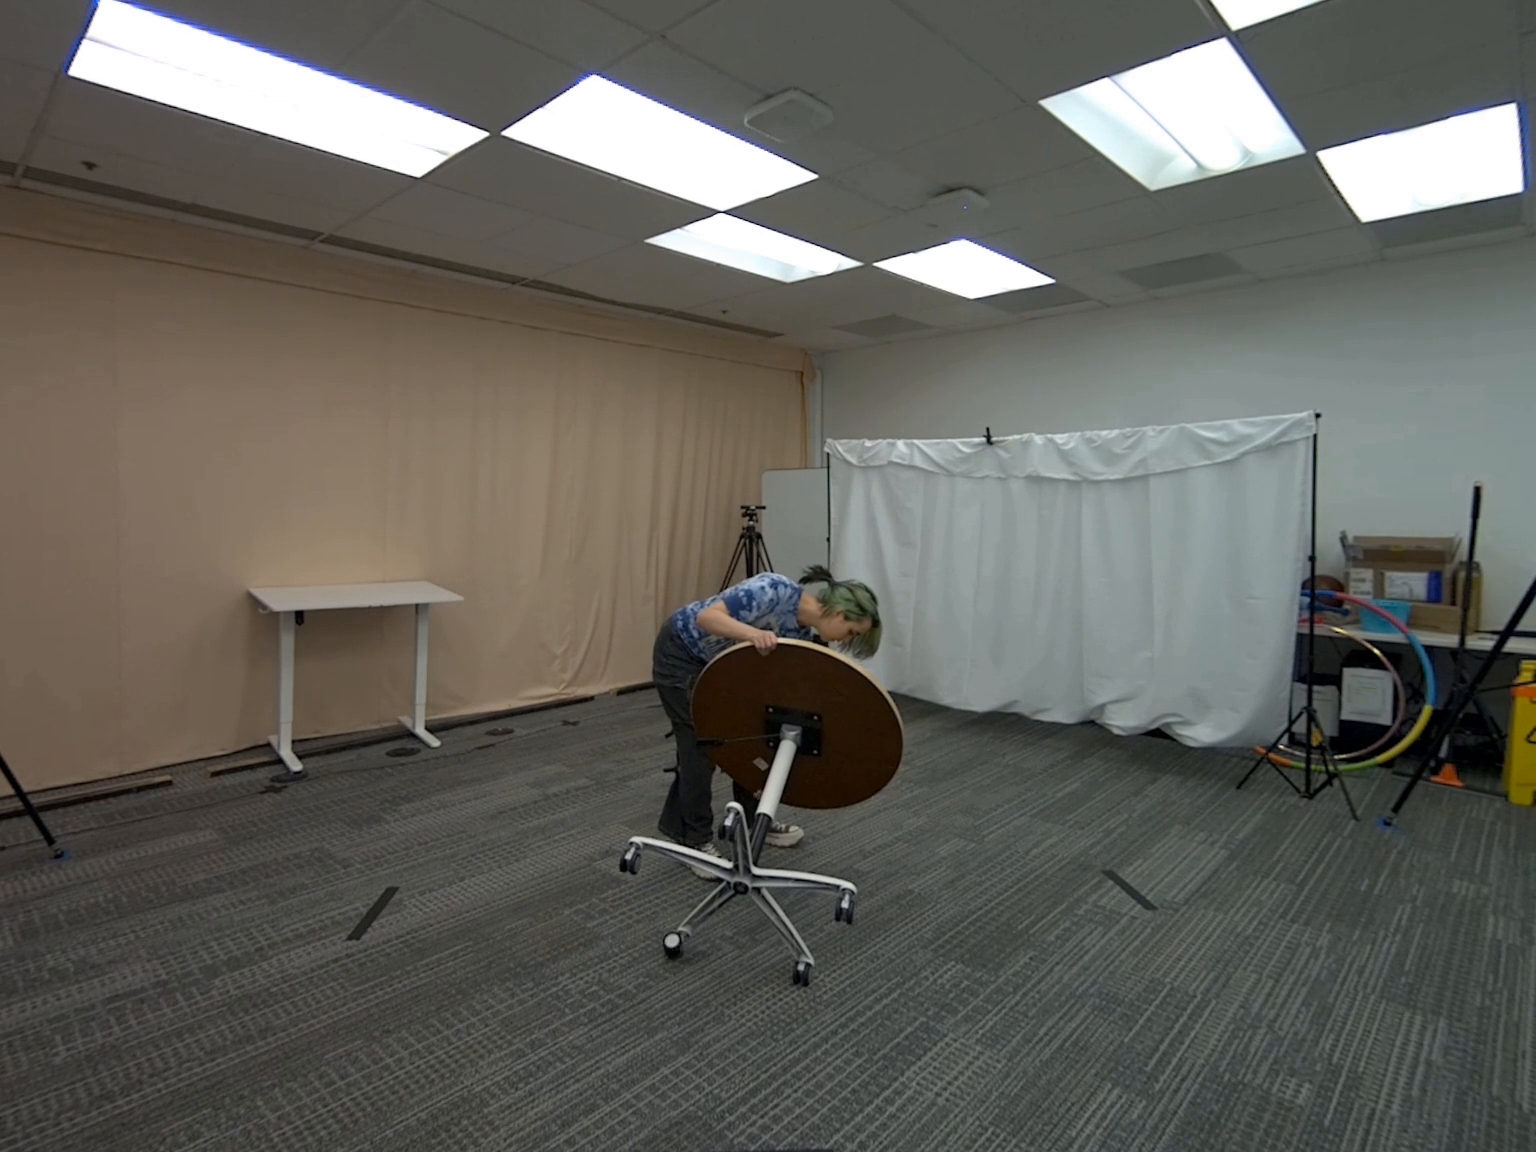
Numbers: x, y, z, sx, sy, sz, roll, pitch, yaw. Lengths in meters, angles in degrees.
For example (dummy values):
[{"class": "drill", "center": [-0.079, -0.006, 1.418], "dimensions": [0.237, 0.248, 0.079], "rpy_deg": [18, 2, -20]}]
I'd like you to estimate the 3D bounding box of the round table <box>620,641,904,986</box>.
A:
[{"class": "round table", "center": [0.005, 0.746, 2.680], "dimensions": [0.779, 0.748, 0.794], "rpy_deg": [1, 32, 18]}]
